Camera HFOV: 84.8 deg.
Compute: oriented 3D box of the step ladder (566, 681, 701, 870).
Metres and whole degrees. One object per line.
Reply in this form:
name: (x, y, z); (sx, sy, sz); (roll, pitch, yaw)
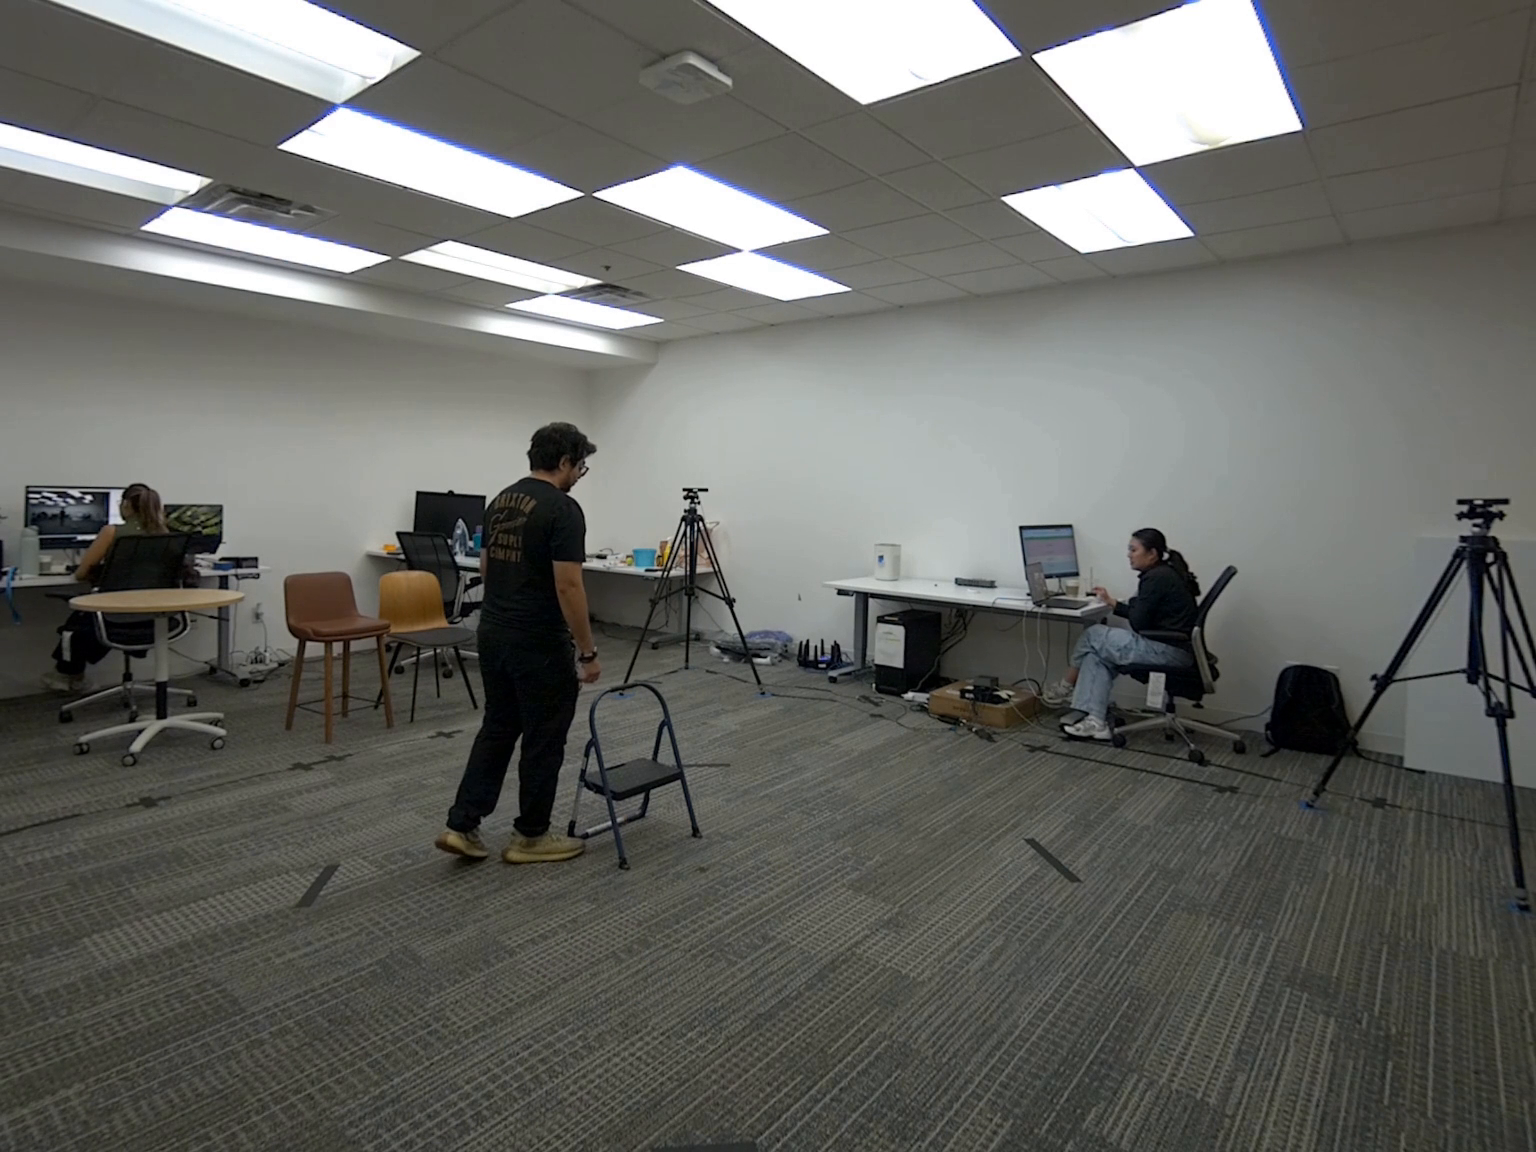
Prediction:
step ladder: (-0.531, 0.738, 3.347); (0.361, 0.604, 0.418); (4, 4, 39)
